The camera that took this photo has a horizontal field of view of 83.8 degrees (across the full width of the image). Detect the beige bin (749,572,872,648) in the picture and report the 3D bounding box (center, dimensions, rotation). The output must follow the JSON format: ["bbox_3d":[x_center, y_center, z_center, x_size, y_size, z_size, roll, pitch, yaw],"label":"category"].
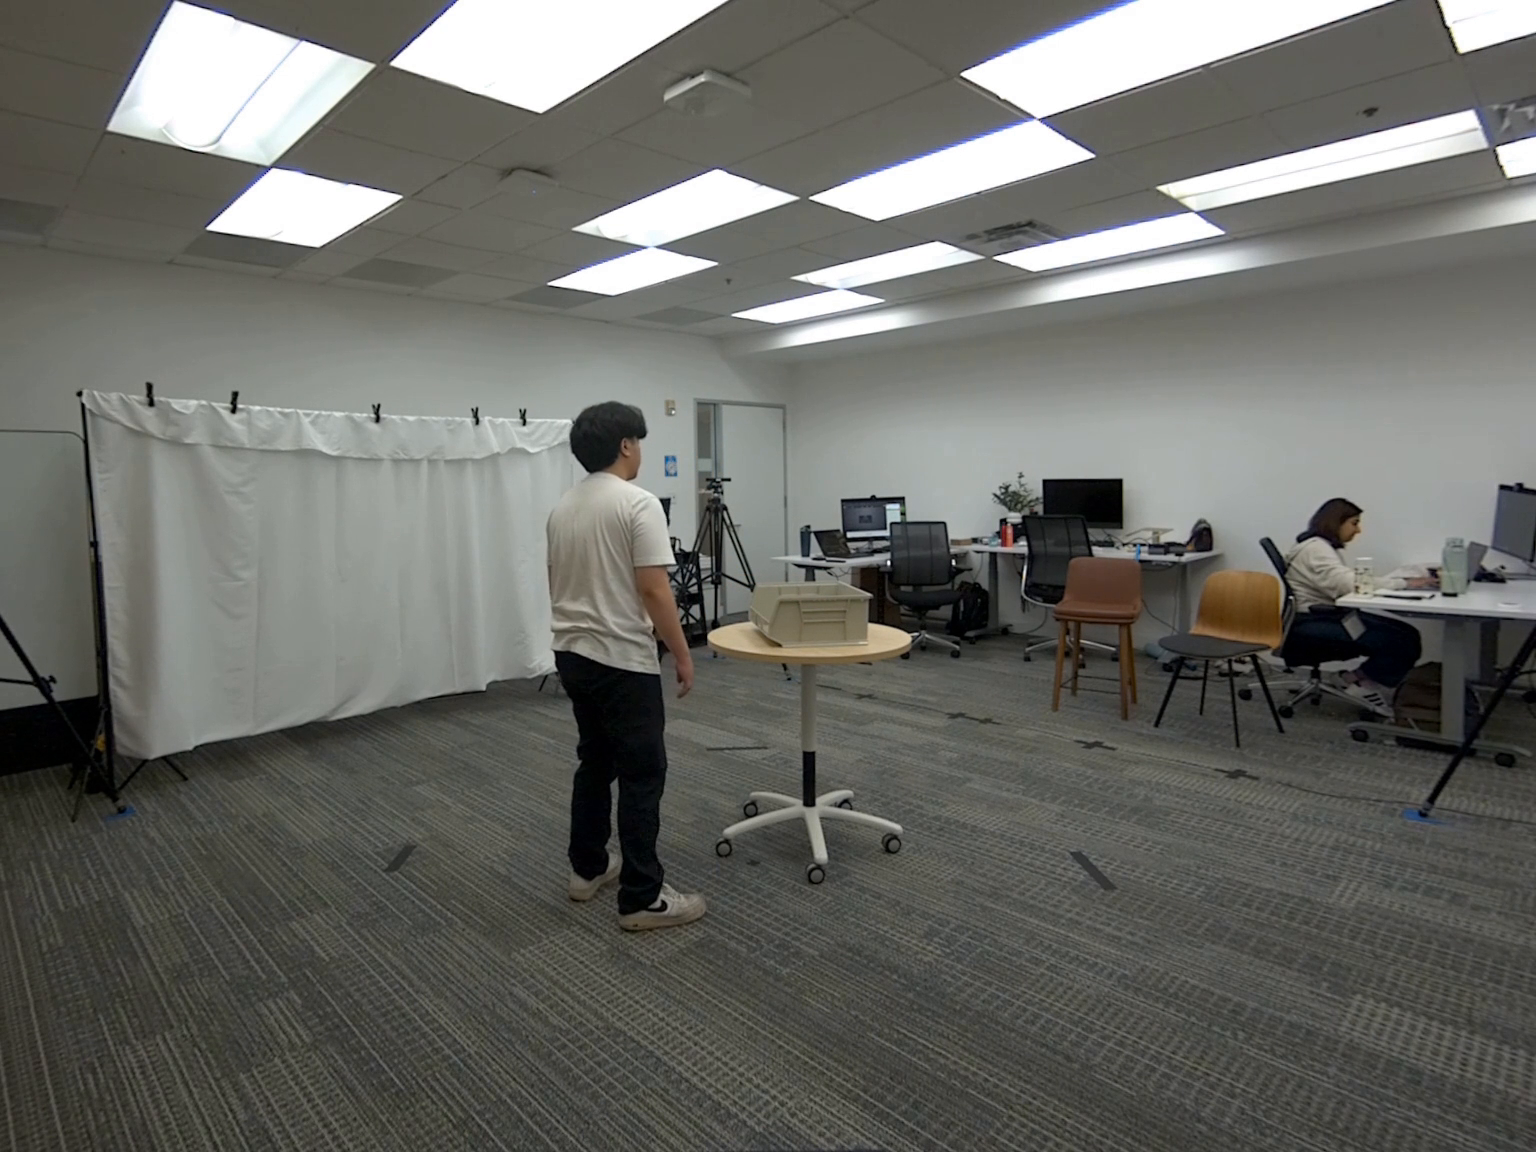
[{"bbox_3d":[0.140,0.137,3.217,0.374,0.188,0.428,0,6,-10],"label":"beige bin"}]
